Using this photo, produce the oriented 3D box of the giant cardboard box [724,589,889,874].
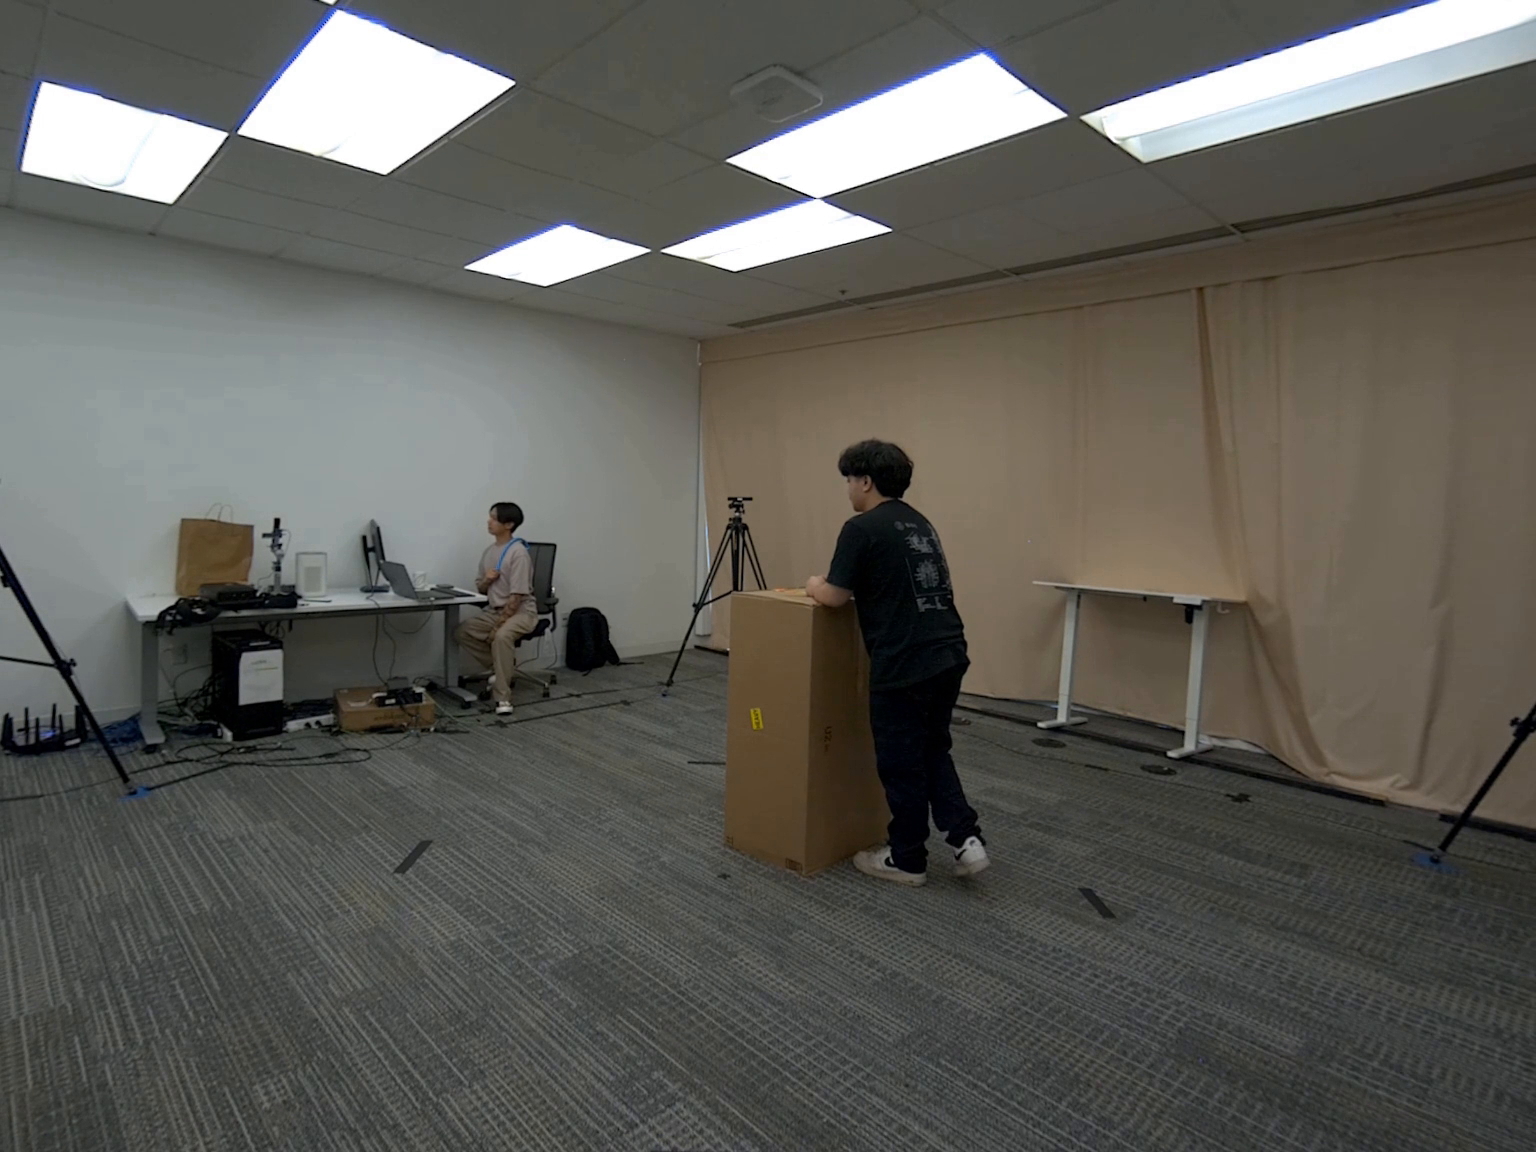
[{"bbox_3d":[0.172,0.576,3.439,0.458,1.025,0.570,4,3,44],"label":"giant cardboard box"}]
